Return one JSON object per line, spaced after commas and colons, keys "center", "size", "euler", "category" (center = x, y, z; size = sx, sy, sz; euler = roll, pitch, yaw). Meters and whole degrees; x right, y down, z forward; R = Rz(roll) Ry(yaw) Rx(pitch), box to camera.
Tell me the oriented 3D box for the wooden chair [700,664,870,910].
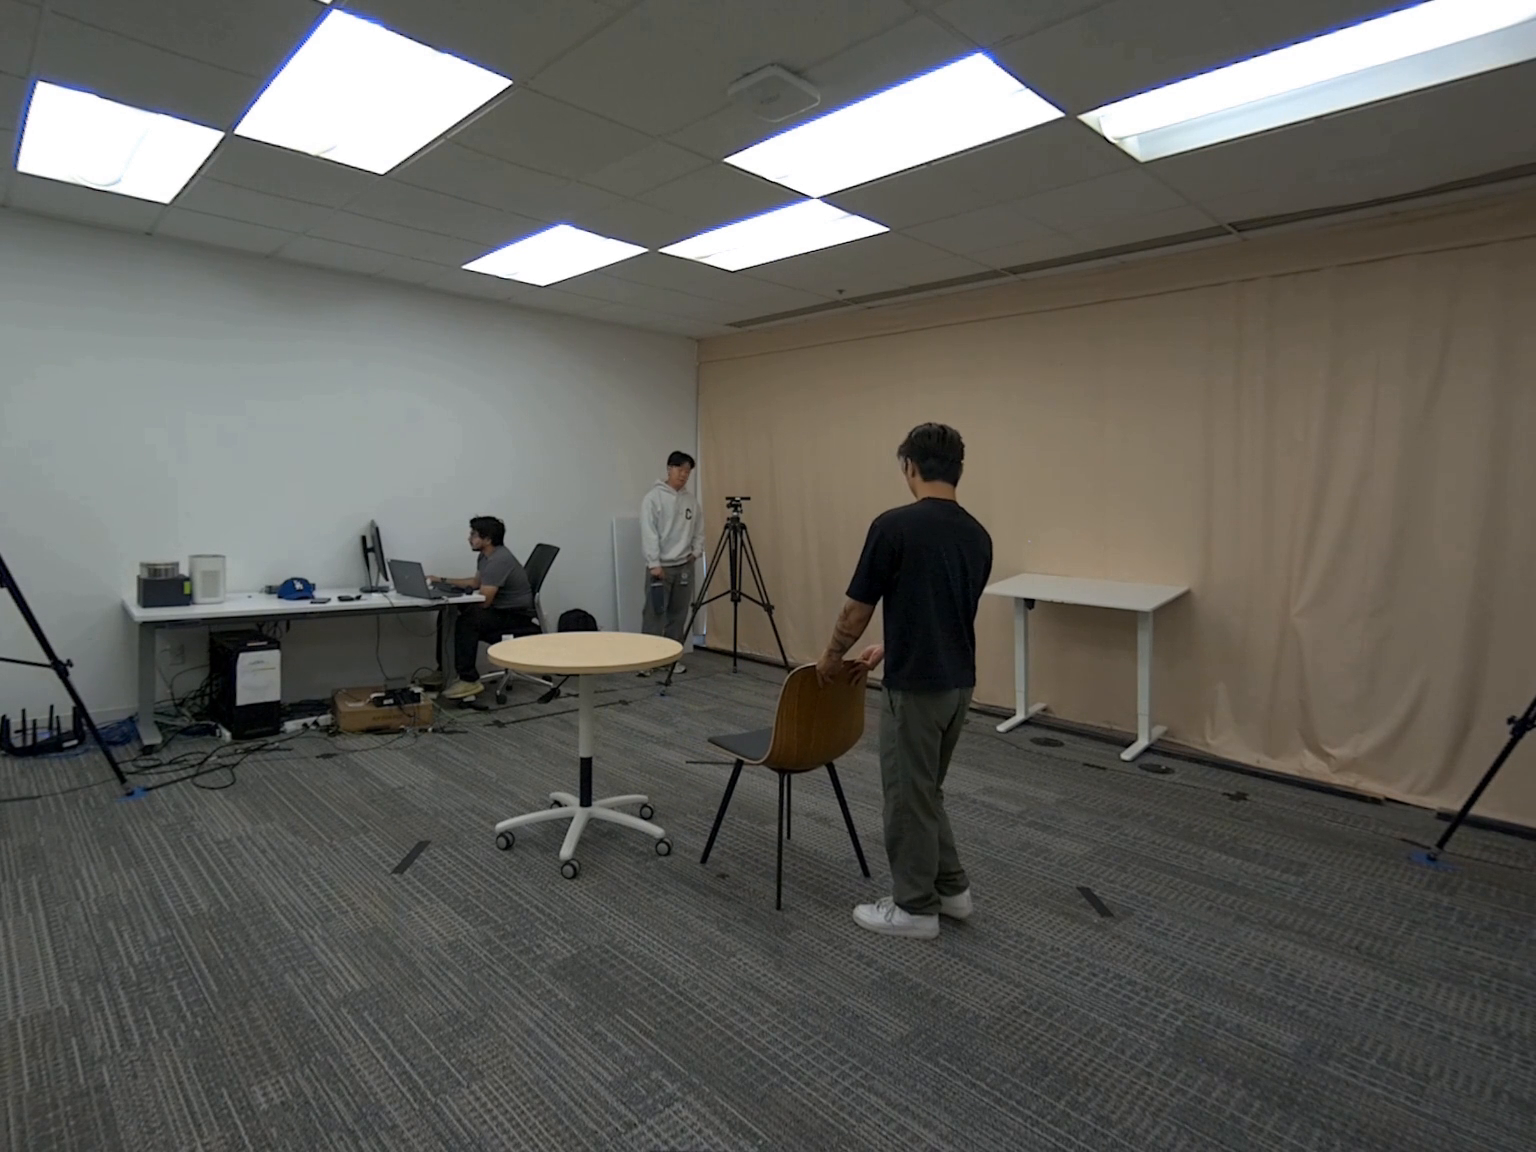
{"center": [0.060, 0.681, 3.135], "size": [0.467, 0.873, 0.537], "euler": [-2, 9, -39], "category": "wooden chair"}
